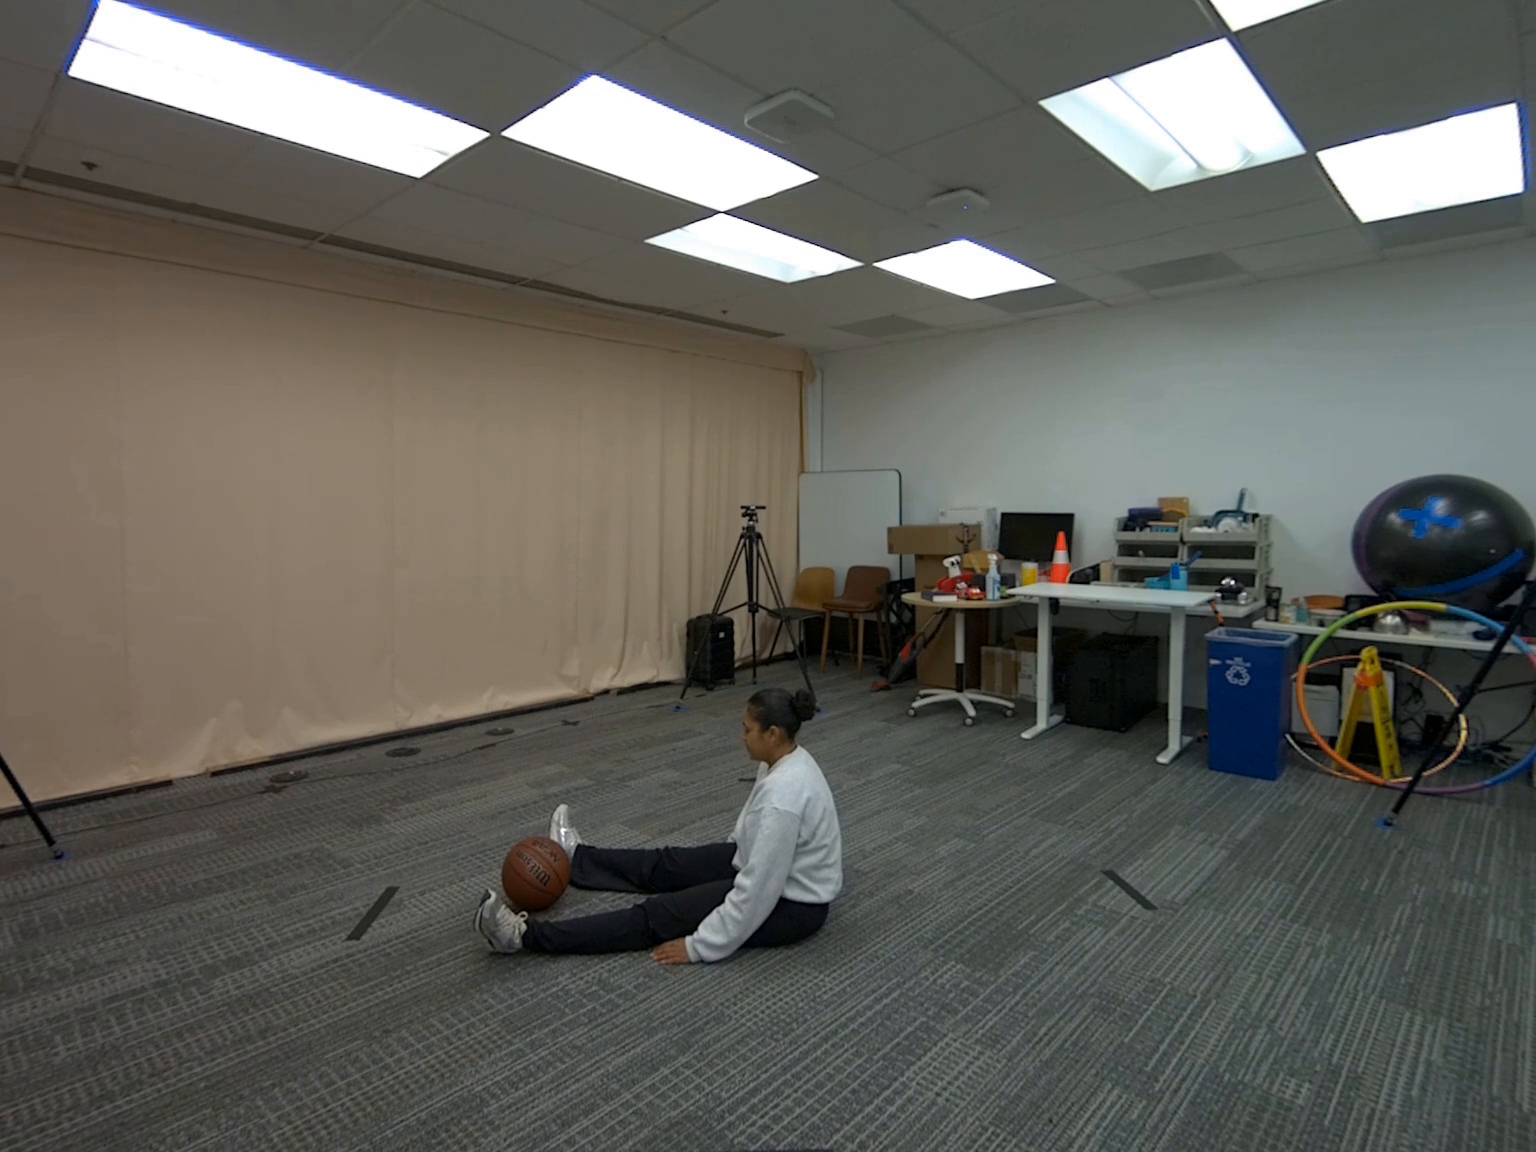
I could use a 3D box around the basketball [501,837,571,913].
[{"bbox_3d":[-0.811,1.040,2.927,0.236,0.235,0.237,0,4,-2],"label":"basketball"}]
